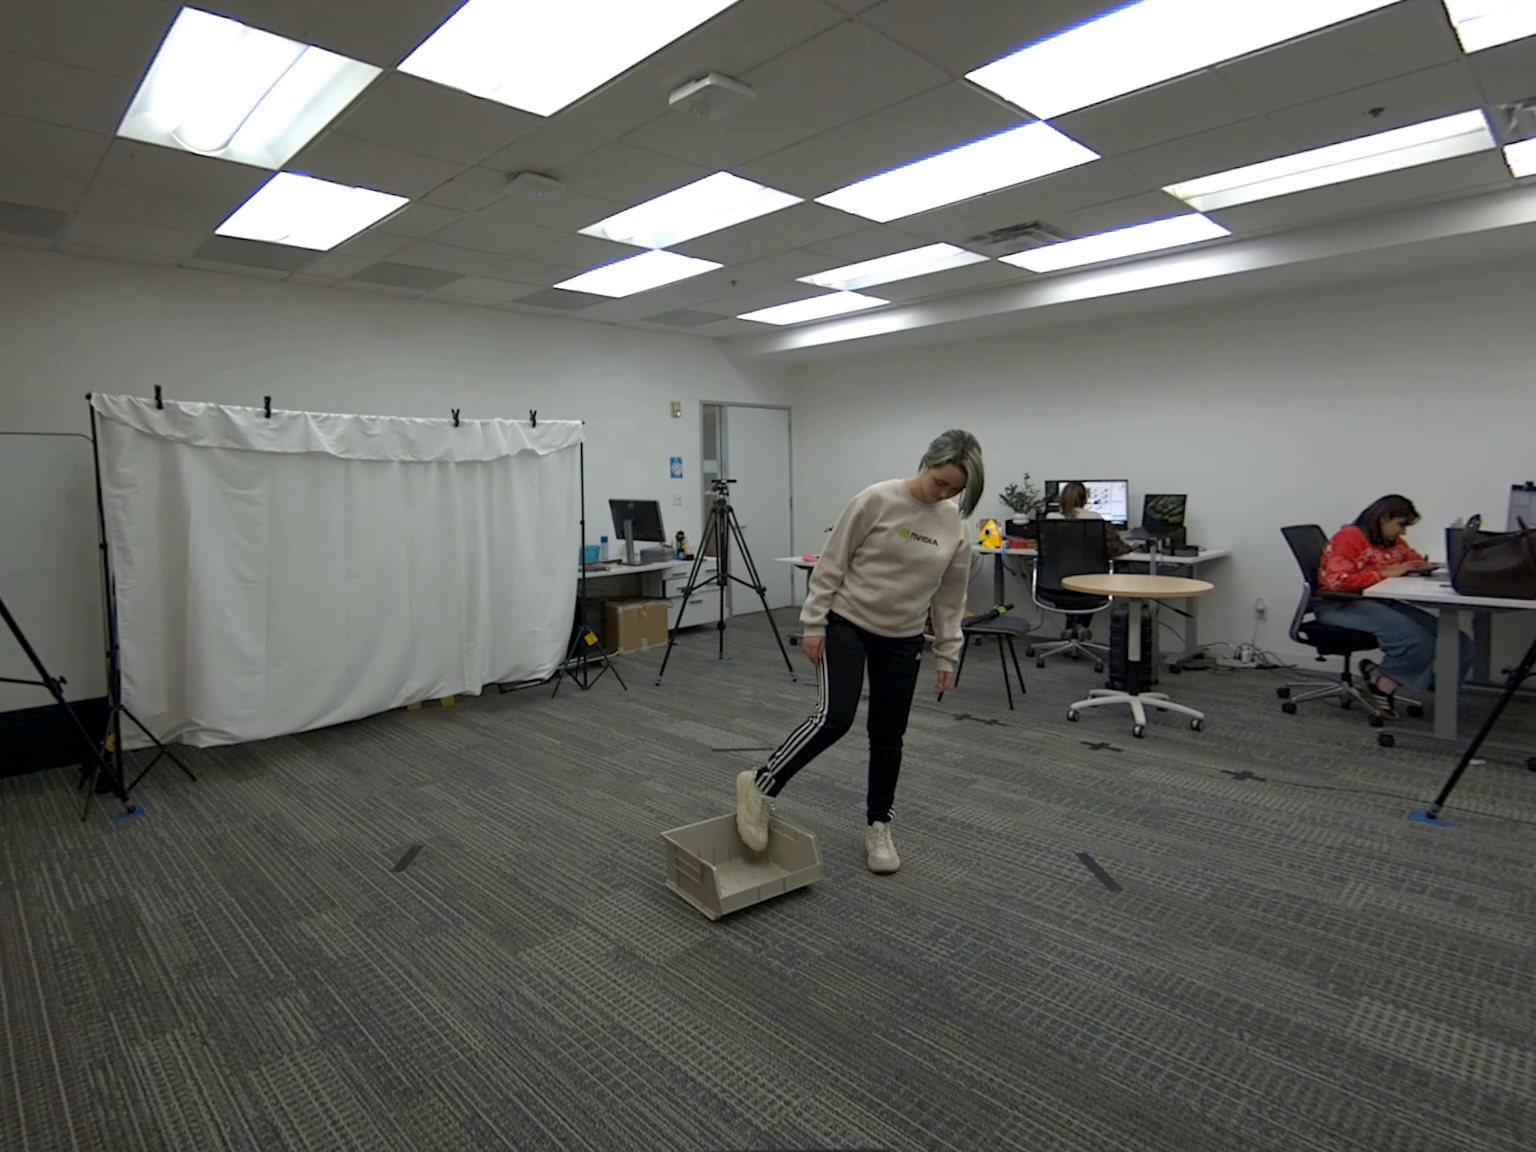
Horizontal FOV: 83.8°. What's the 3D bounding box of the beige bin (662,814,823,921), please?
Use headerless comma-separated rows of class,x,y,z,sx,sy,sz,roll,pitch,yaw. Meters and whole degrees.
beige bin,-0.088,0.975,2.918,0.412,0.188,0.388,-6,5,-34
